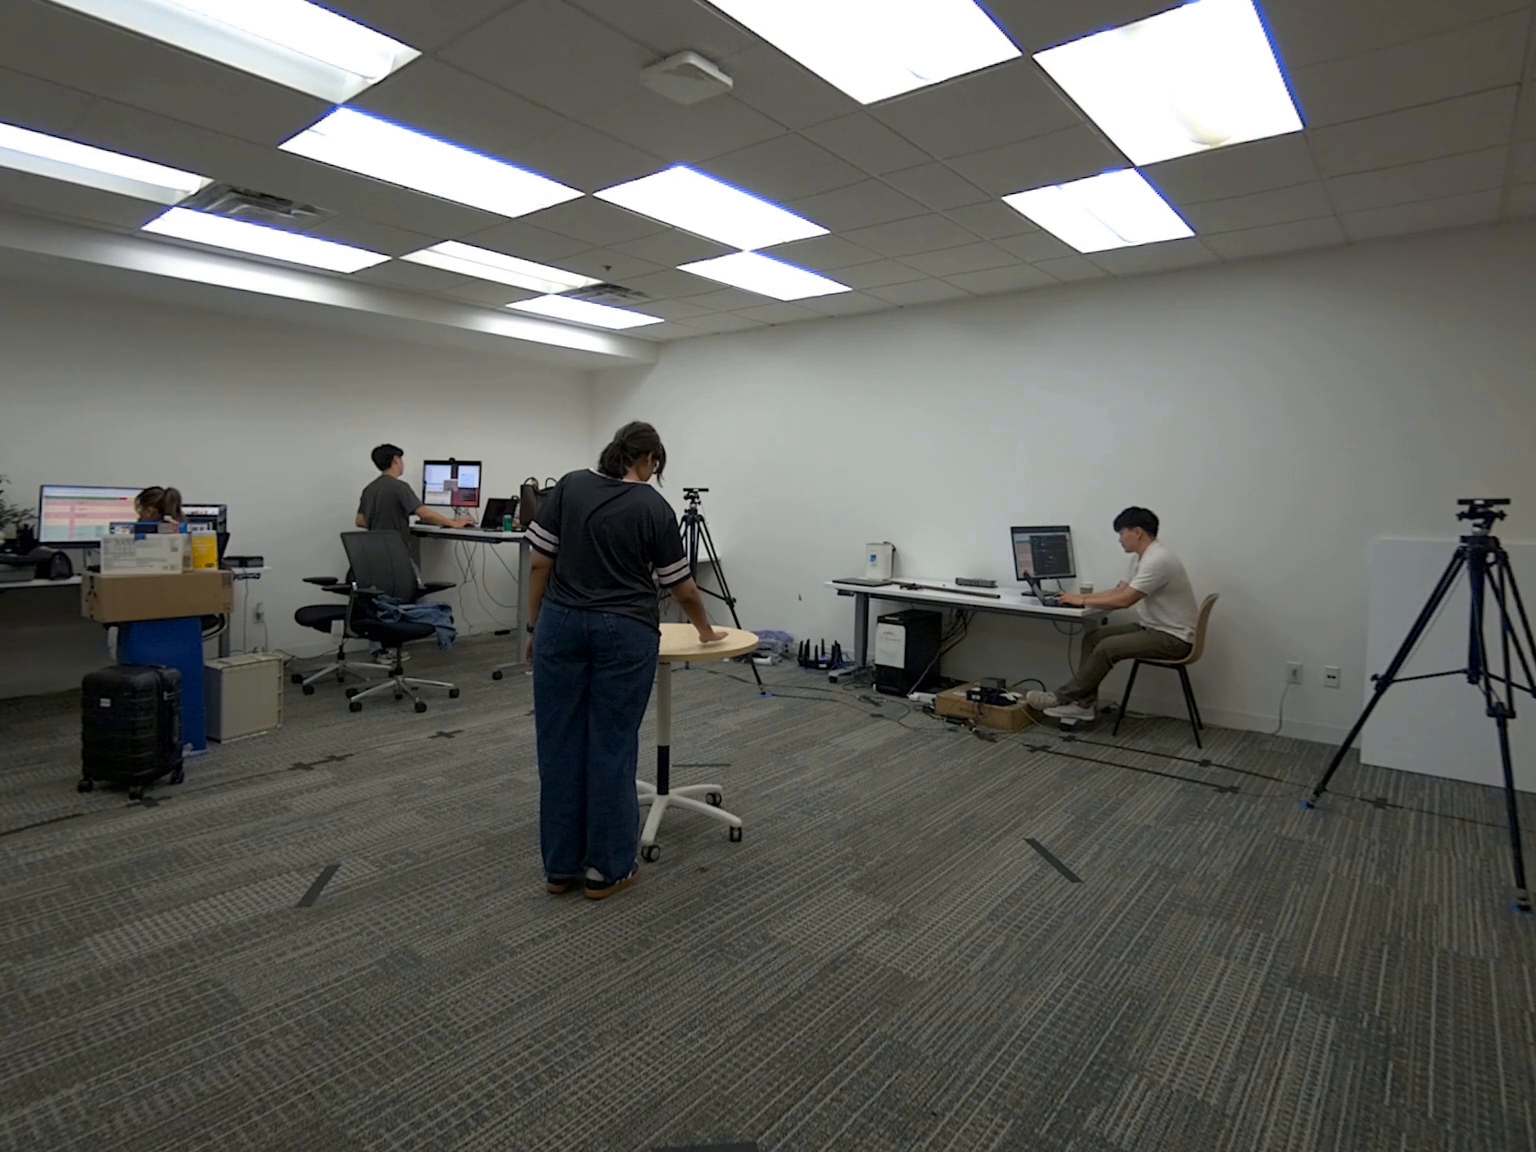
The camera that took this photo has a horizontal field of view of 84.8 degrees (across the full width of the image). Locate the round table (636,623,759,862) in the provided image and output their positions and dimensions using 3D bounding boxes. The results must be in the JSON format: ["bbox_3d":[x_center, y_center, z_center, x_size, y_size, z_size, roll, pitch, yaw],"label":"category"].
[{"bbox_3d":[-0.447,0.638,3.484,0.784,0.784,0.789,1,4,-2],"label":"round table"}]
